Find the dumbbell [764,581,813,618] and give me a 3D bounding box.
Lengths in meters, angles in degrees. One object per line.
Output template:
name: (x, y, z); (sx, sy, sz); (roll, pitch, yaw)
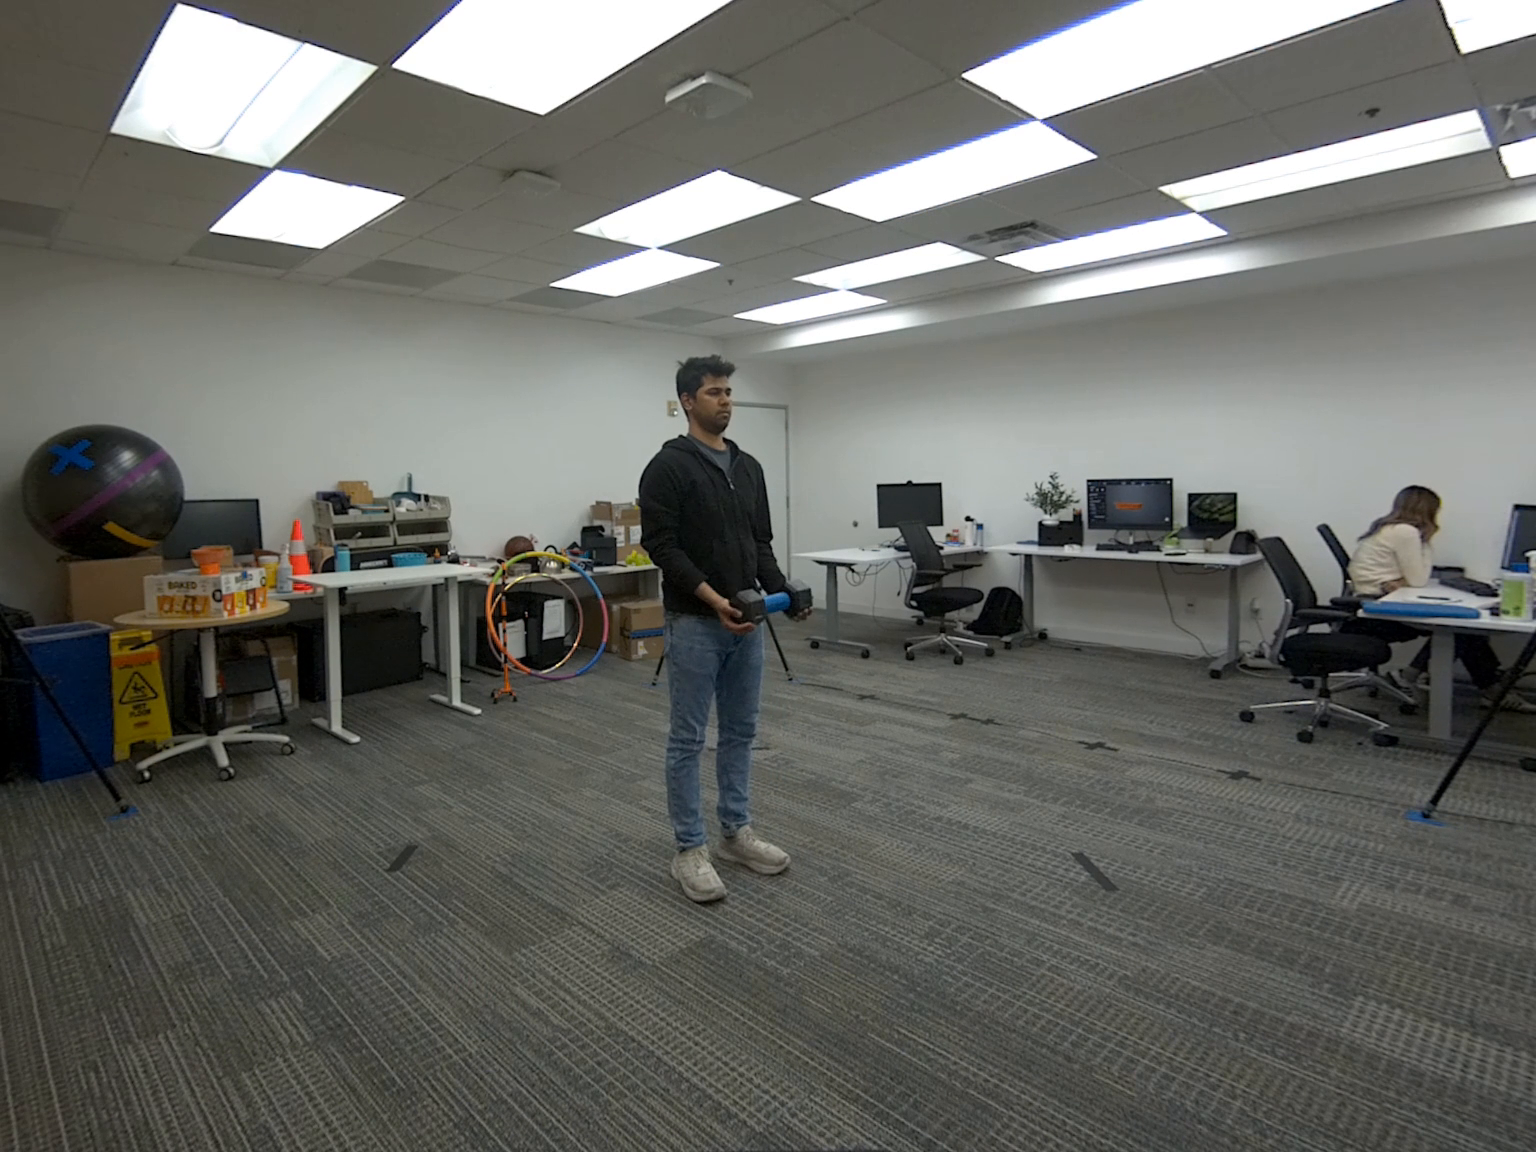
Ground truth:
dumbbell: (0.002, 0.088, 2.800); (0.286, 0.123, 0.111); (-10, 0, -40)
